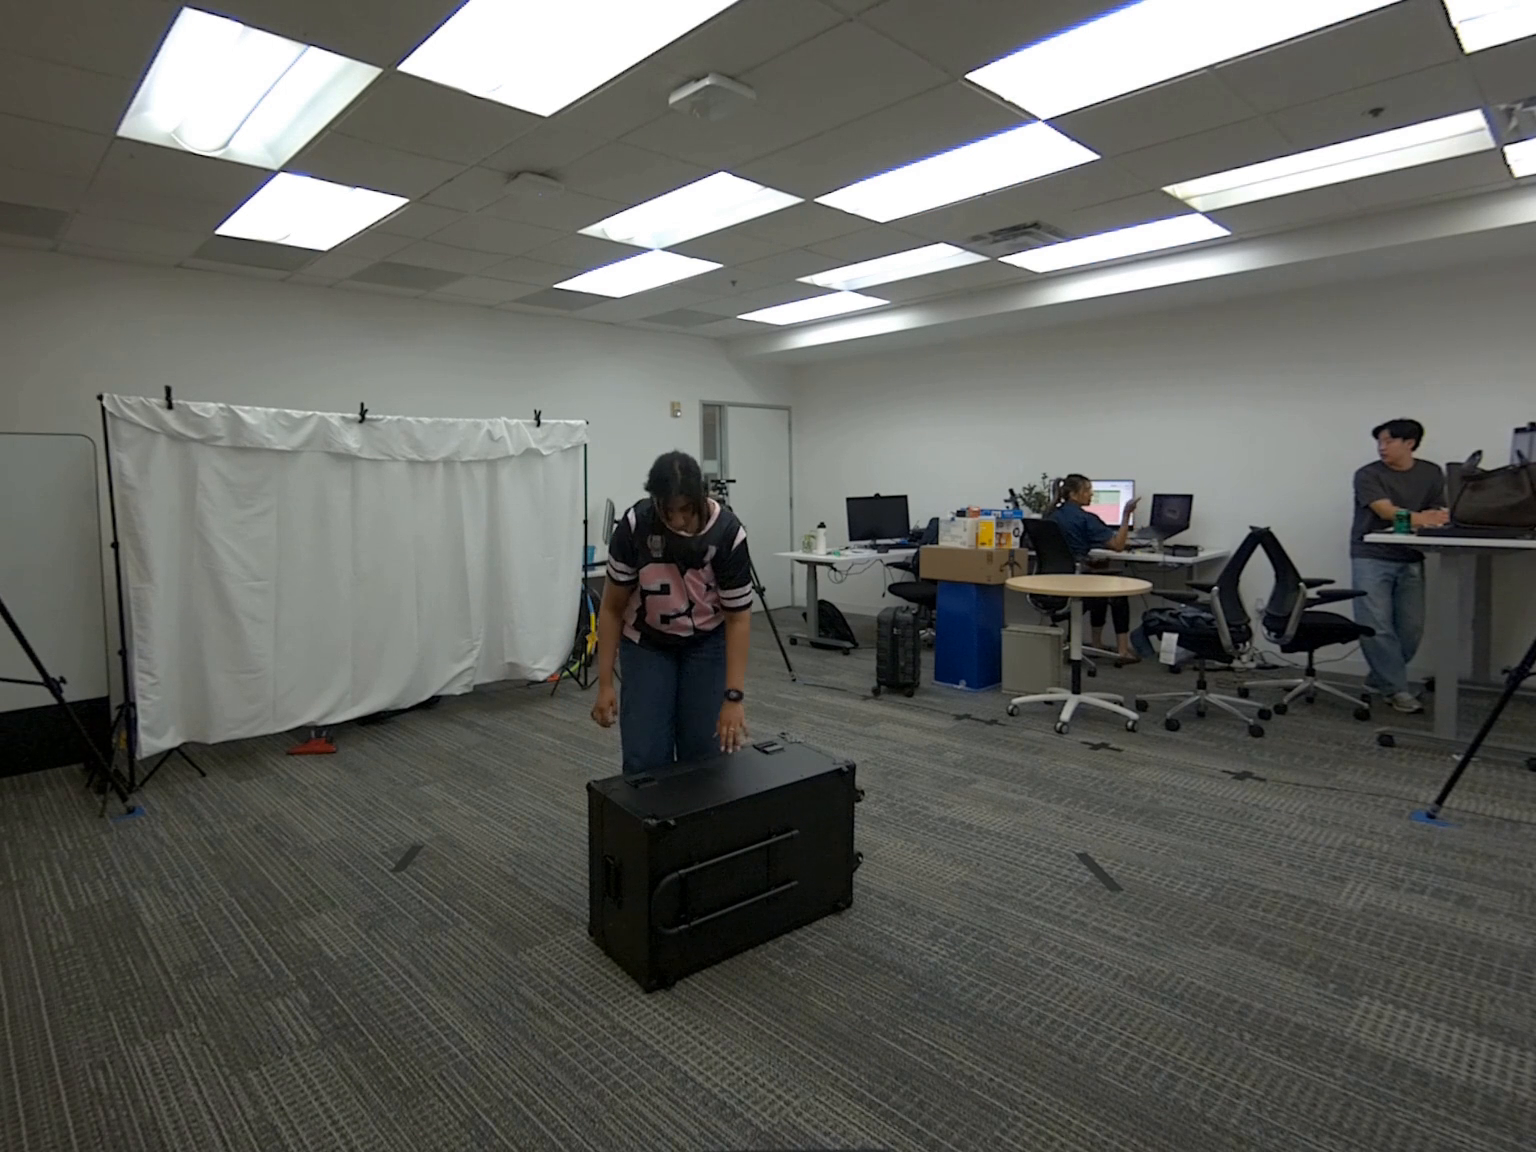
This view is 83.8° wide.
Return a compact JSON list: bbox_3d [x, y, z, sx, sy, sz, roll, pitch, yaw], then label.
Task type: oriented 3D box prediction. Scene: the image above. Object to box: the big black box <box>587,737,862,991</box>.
[{"bbox_3d":[-0.099,0.840,2.692,0.846,0.521,0.397,-5,7,-38],"label":"big black box"}]
